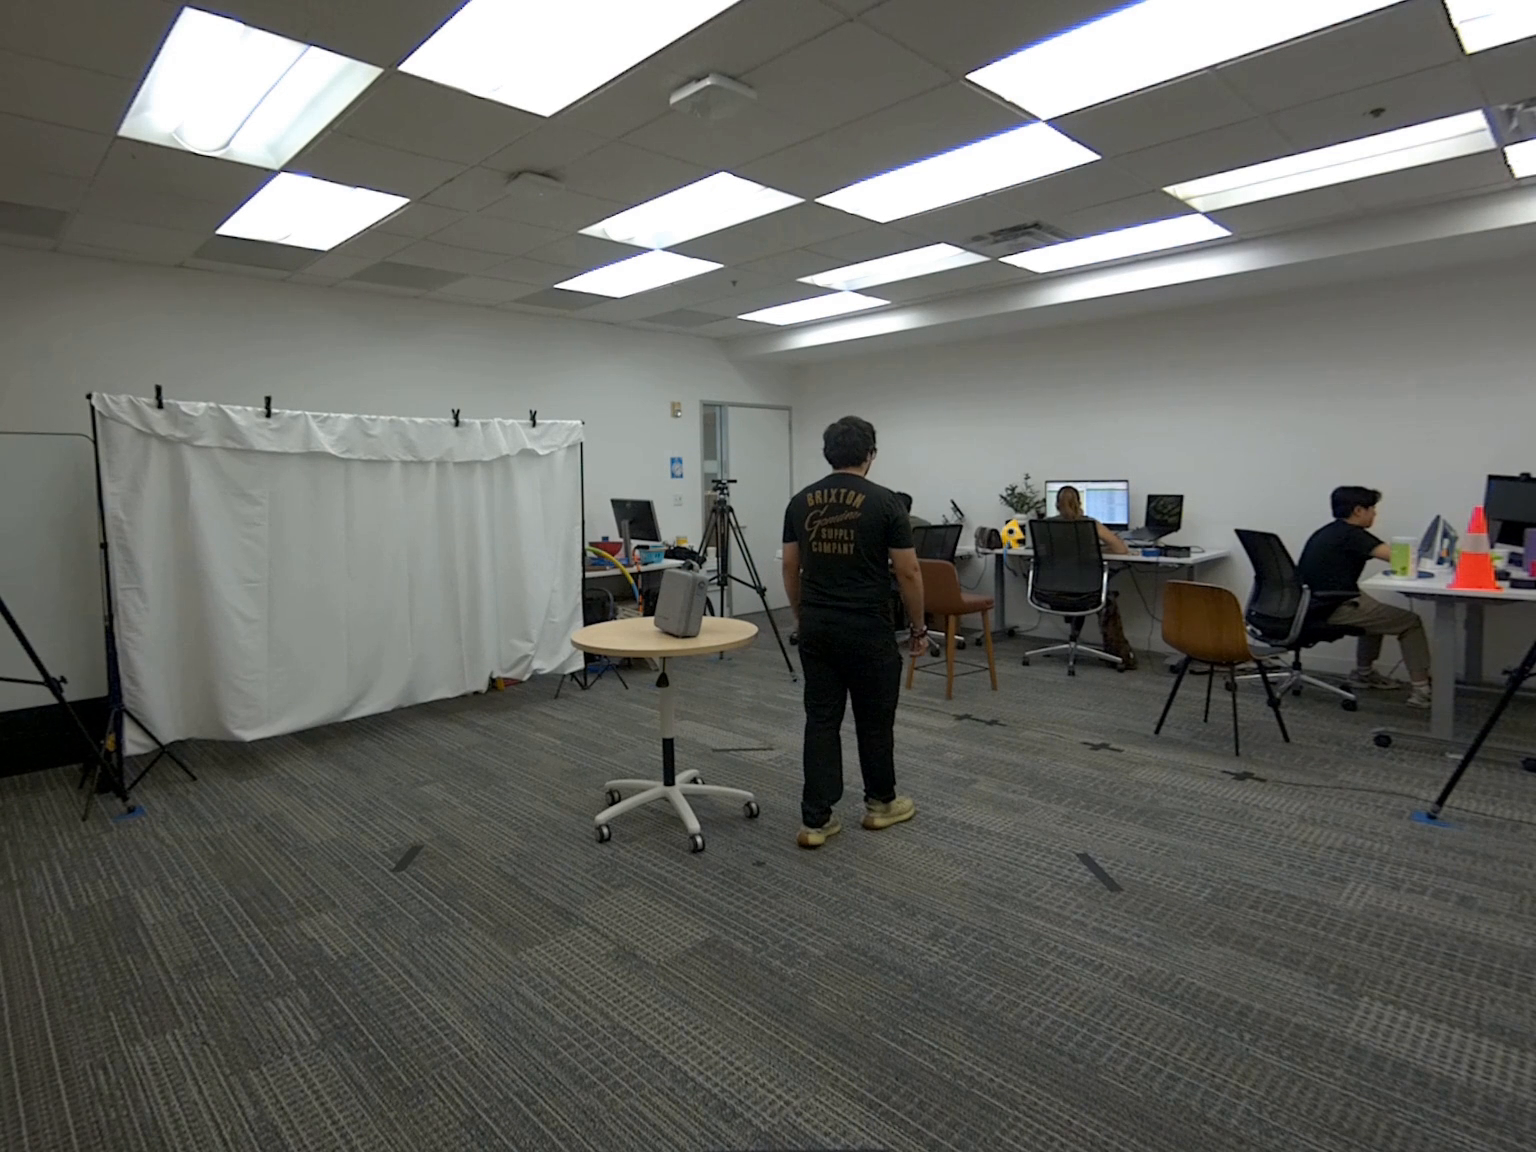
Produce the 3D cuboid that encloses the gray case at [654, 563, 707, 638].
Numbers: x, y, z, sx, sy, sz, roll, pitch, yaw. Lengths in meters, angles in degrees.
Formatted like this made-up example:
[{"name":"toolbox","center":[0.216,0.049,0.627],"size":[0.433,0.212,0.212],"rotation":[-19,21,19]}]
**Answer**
[{"name":"gray case","center":[-0.348,0.099,3.446],"size":[0.101,0.261,0.264],"rotation":[10,-1,-29]}]
